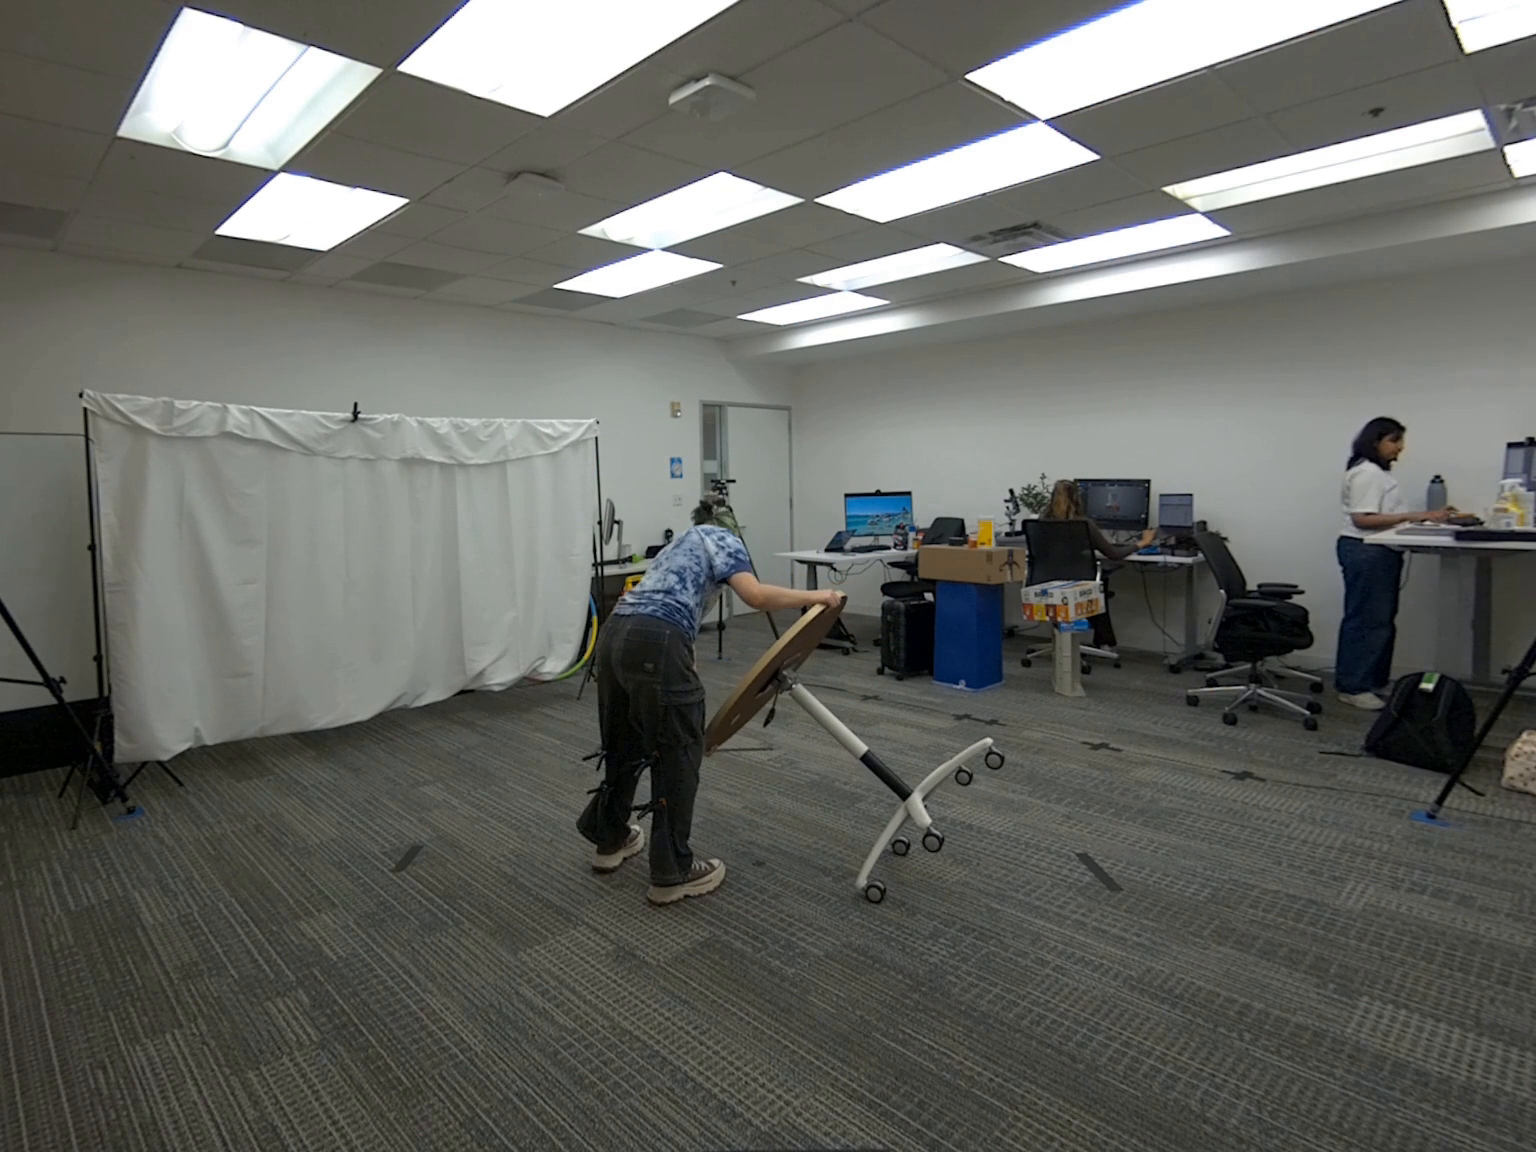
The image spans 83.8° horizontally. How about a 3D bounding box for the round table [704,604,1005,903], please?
[{"bbox_3d":[0.304,0.603,3.027,0.810,0.762,0.750,43,19,14],"label":"round table"}]
